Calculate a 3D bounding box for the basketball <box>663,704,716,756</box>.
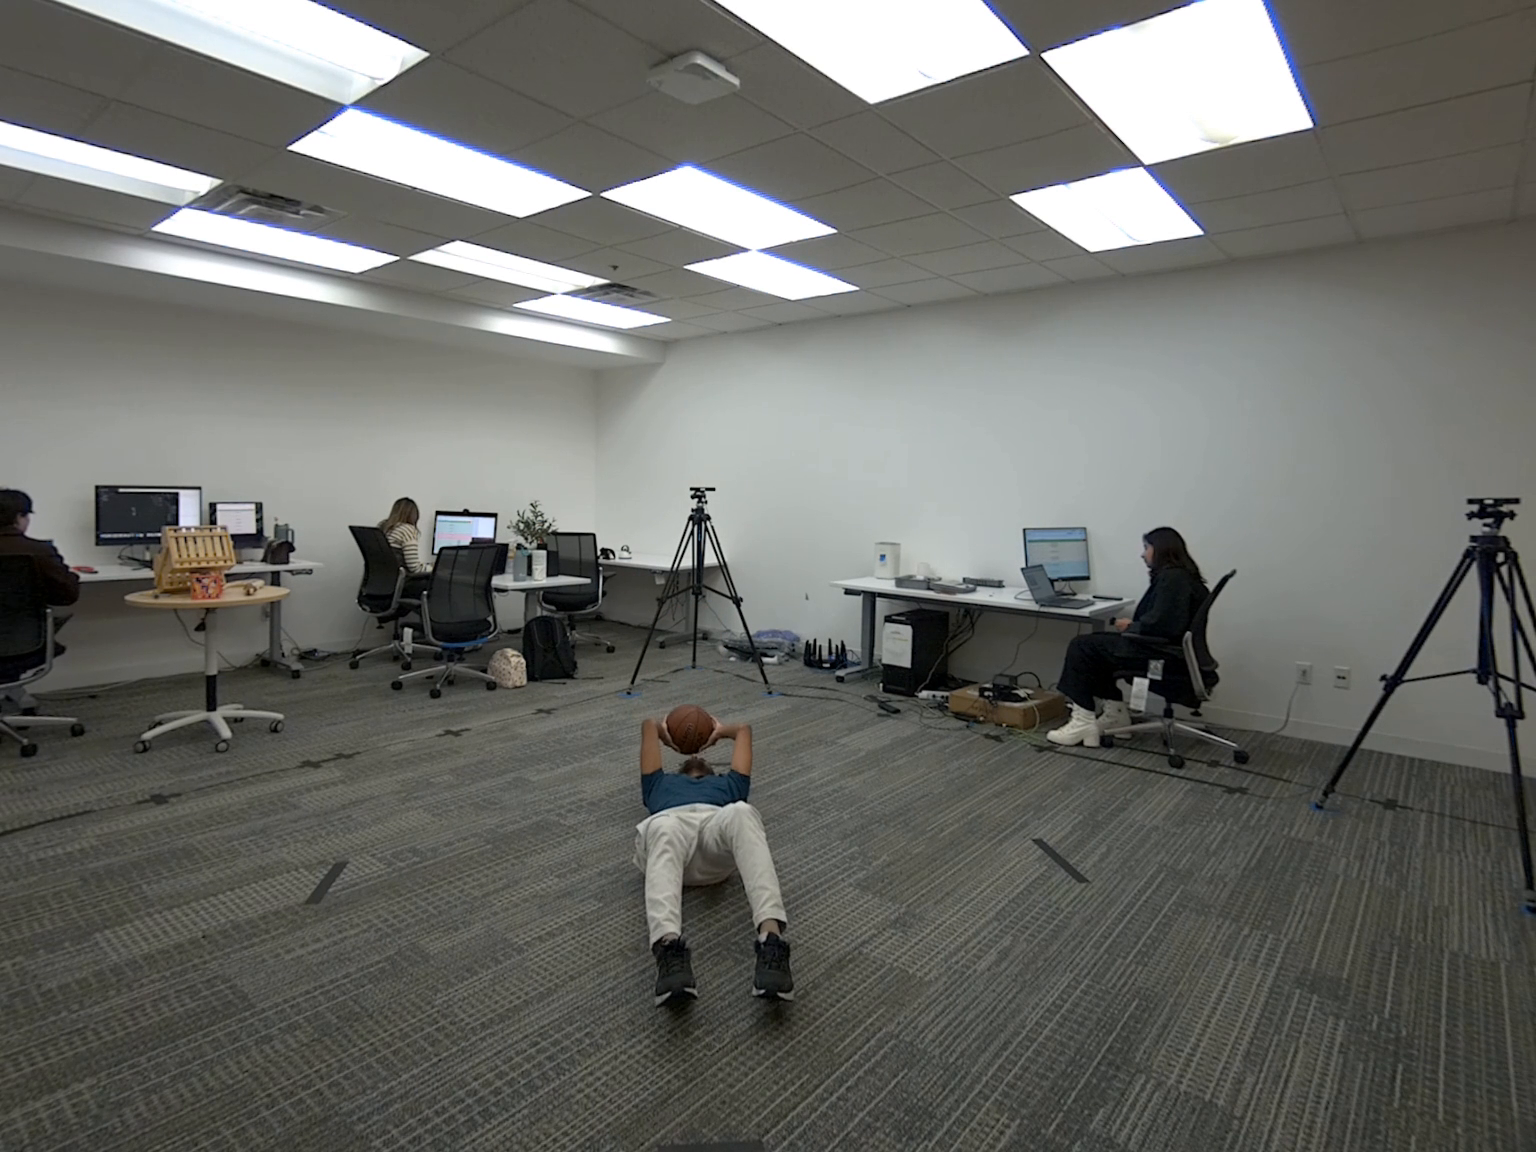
[{"bbox_3d":[-0.394,0.736,4.080,0.235,0.235,0.237,1,4,-2],"label":"basketball"}]
